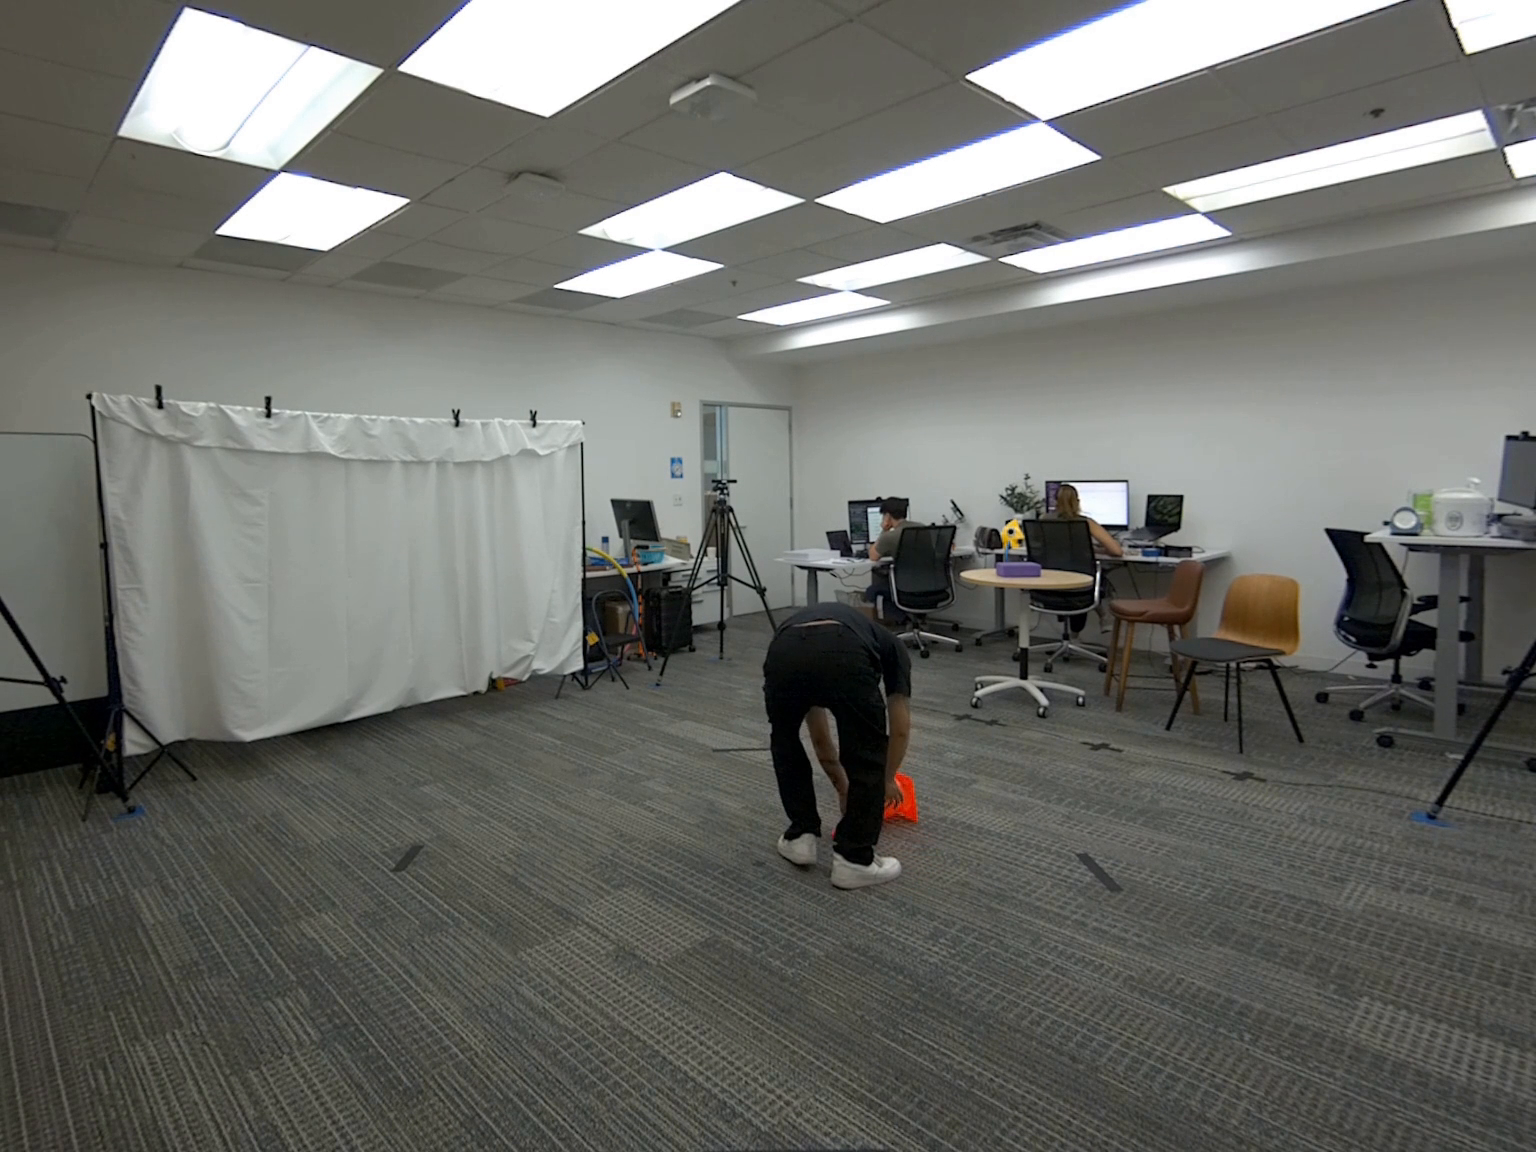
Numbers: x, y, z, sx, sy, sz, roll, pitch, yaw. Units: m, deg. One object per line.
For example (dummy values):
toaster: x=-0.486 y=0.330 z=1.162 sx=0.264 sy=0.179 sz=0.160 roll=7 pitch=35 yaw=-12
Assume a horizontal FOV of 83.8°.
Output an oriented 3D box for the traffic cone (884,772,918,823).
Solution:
traffic cone: x=0.397 y=0.943 z=3.411 sx=0.377 sy=0.201 sz=0.211 roll=-21 pitch=16 yaw=-35
